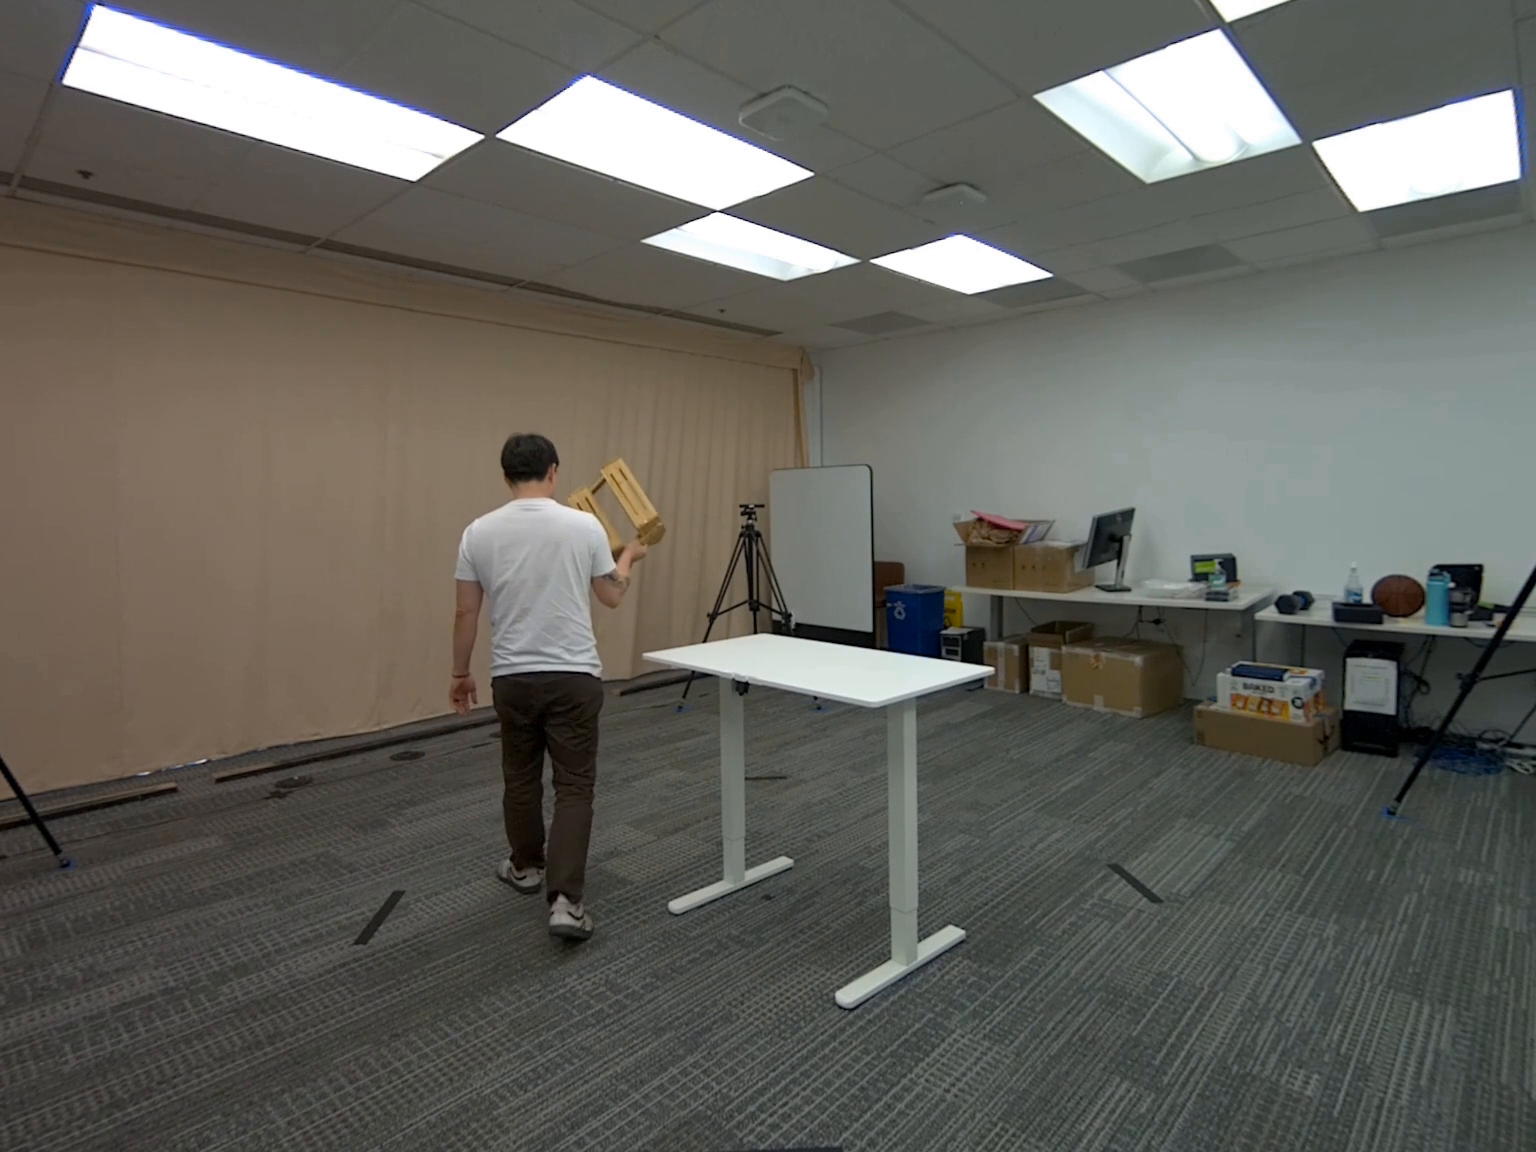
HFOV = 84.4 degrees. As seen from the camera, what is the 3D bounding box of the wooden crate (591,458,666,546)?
[{"bbox_3d":[-0.574,-0.221,3.276,0.272,0.332,0.296,-32,-20,-6],"label":"wooden crate"}]
